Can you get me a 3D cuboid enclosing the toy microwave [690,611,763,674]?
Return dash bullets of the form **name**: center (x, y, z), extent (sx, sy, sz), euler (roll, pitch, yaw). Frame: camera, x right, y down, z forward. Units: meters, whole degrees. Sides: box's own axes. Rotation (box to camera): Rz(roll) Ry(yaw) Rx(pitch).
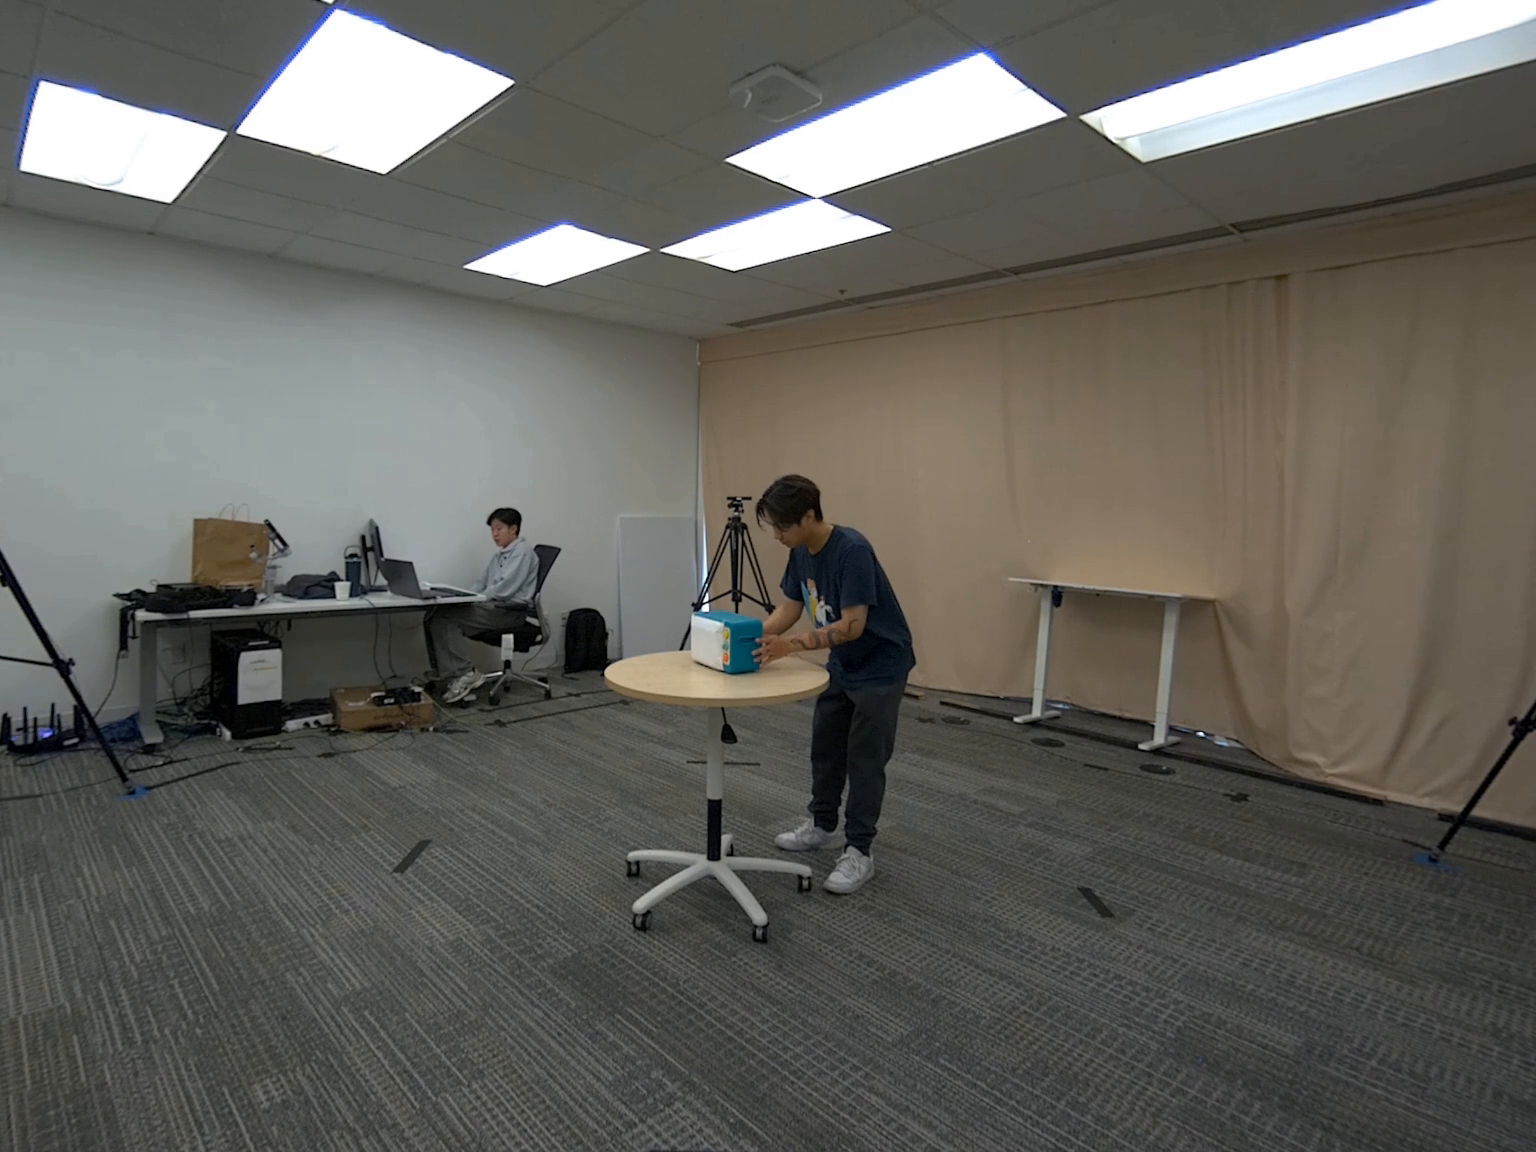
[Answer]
- **toy microwave**: center (-0.158, 0.228, 2.946), extent (0.149, 0.183, 0.293), euler (-2, 6, -33)
